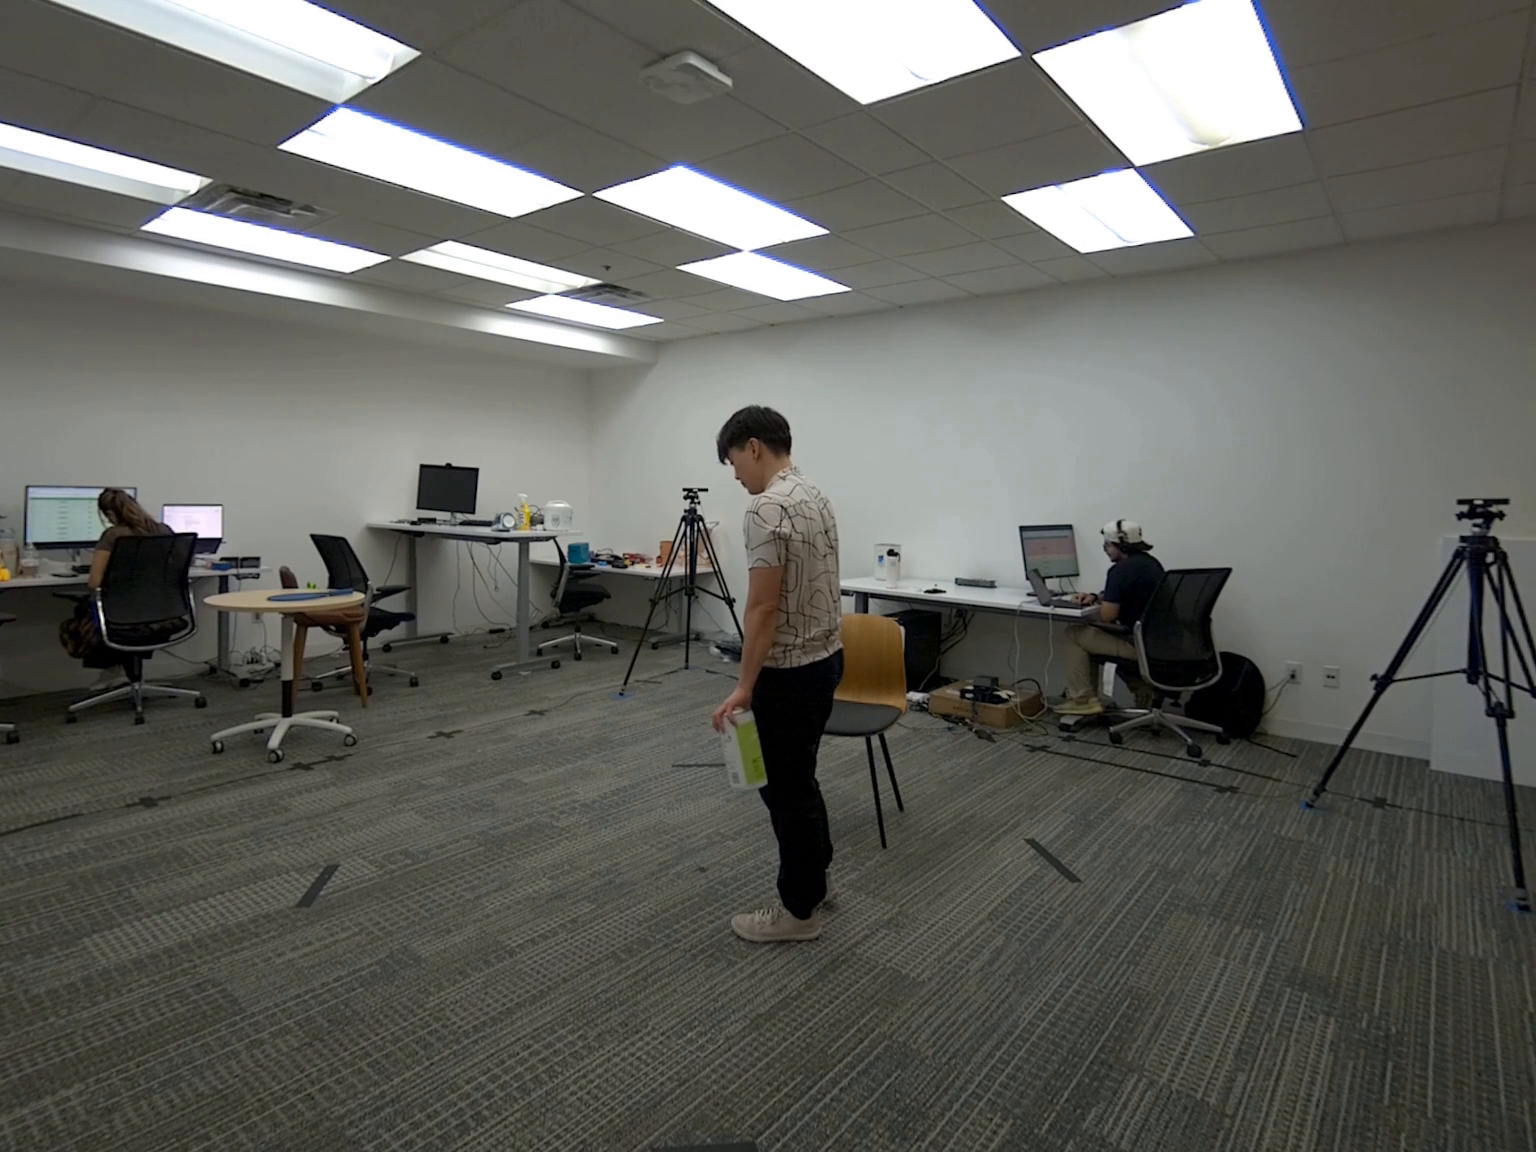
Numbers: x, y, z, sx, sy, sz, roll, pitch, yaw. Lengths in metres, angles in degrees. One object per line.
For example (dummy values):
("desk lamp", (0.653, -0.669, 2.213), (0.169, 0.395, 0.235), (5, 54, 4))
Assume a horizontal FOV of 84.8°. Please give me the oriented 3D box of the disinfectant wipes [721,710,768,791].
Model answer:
("disinfectant wipes", (-0.084, 0.502, 2.459), (0.117, 0.219, 0.117), (-7, -5, -2))
